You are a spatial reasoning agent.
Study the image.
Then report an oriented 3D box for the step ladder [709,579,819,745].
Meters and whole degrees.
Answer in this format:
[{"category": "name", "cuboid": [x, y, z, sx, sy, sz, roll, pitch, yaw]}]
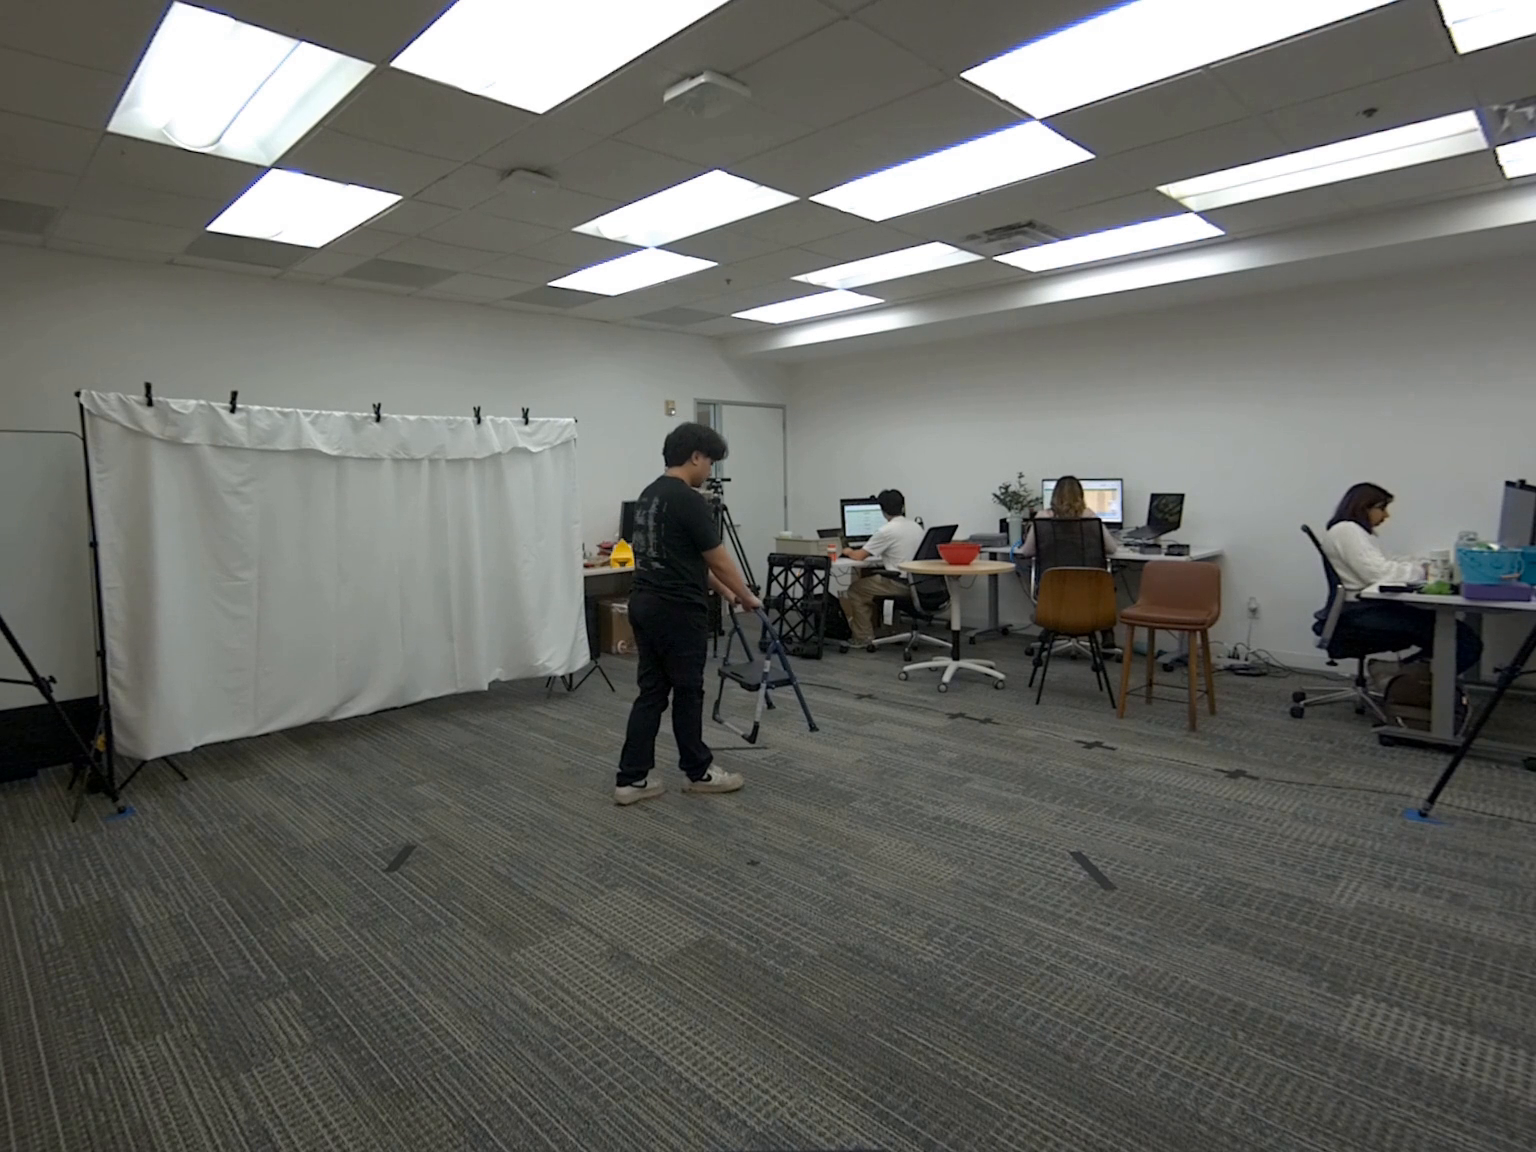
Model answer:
[{"category": "step ladder", "cuboid": [-0.037, 0.403, 3.976, 0.342, 0.602, 0.442, -7, 8, -28]}]
